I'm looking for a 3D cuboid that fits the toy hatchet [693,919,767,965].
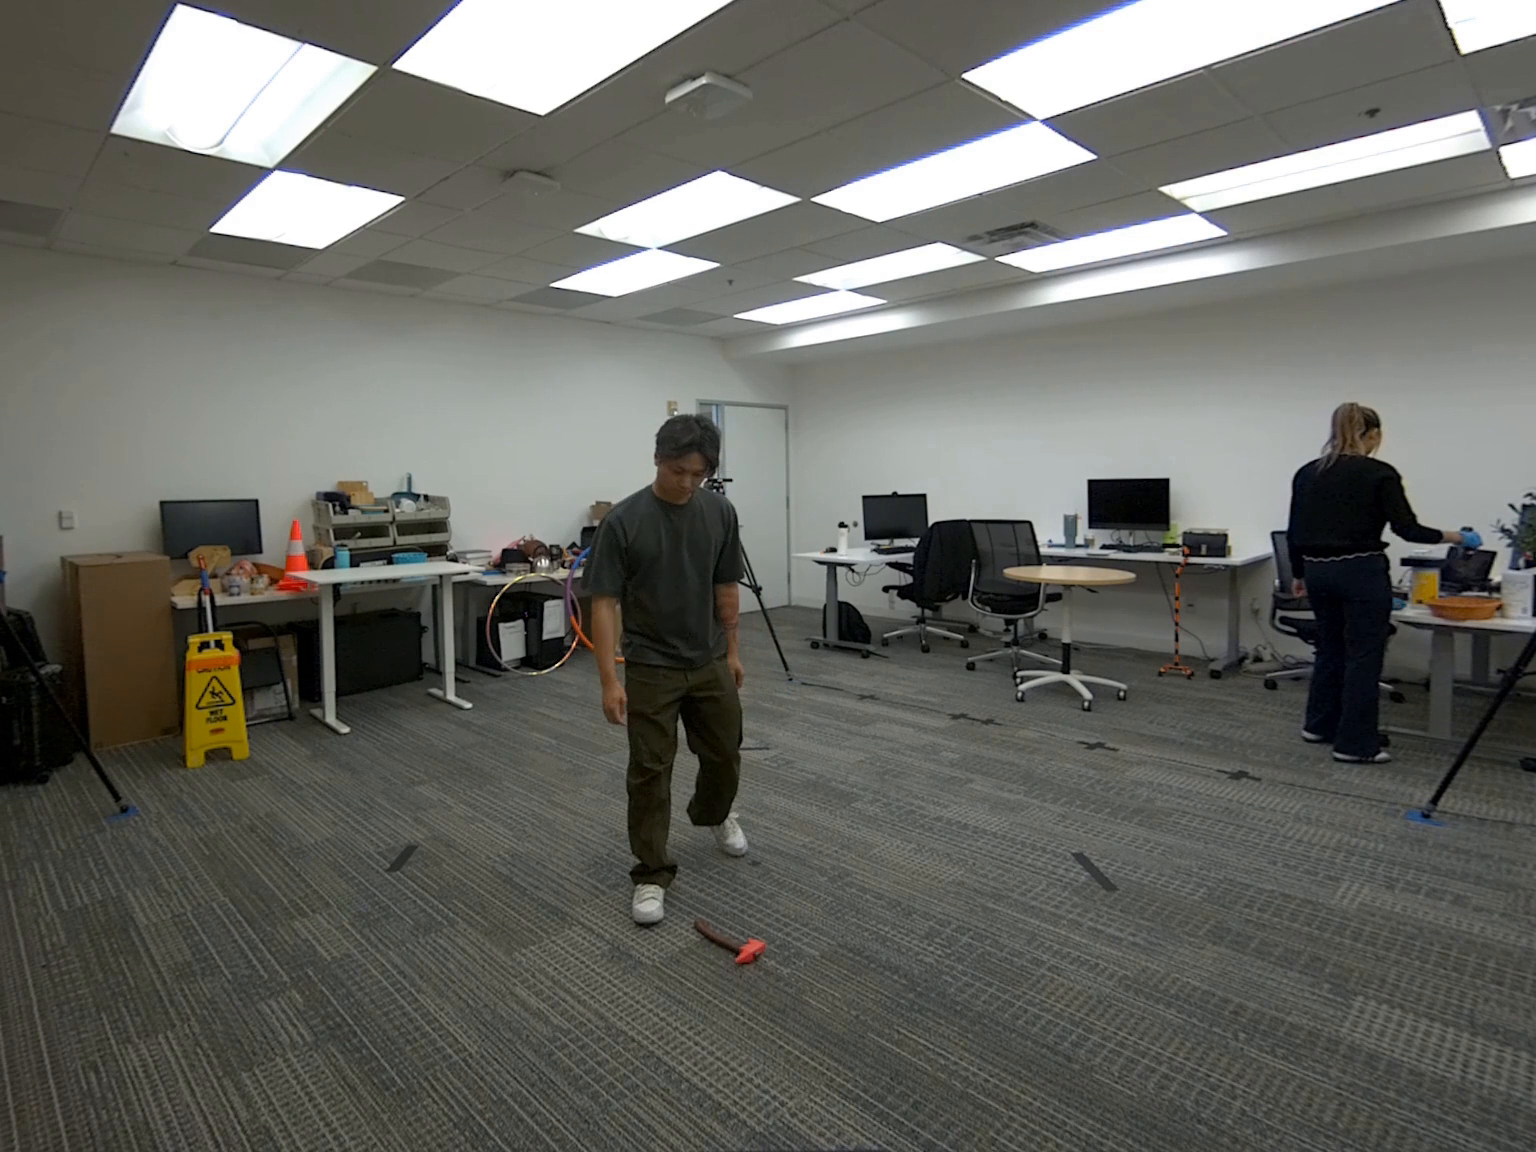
[{"bbox_3d":[-0.101,1.096,2.582,0.128,0.029,0.278,-5,7,-32],"label":"toy hatchet"}]
